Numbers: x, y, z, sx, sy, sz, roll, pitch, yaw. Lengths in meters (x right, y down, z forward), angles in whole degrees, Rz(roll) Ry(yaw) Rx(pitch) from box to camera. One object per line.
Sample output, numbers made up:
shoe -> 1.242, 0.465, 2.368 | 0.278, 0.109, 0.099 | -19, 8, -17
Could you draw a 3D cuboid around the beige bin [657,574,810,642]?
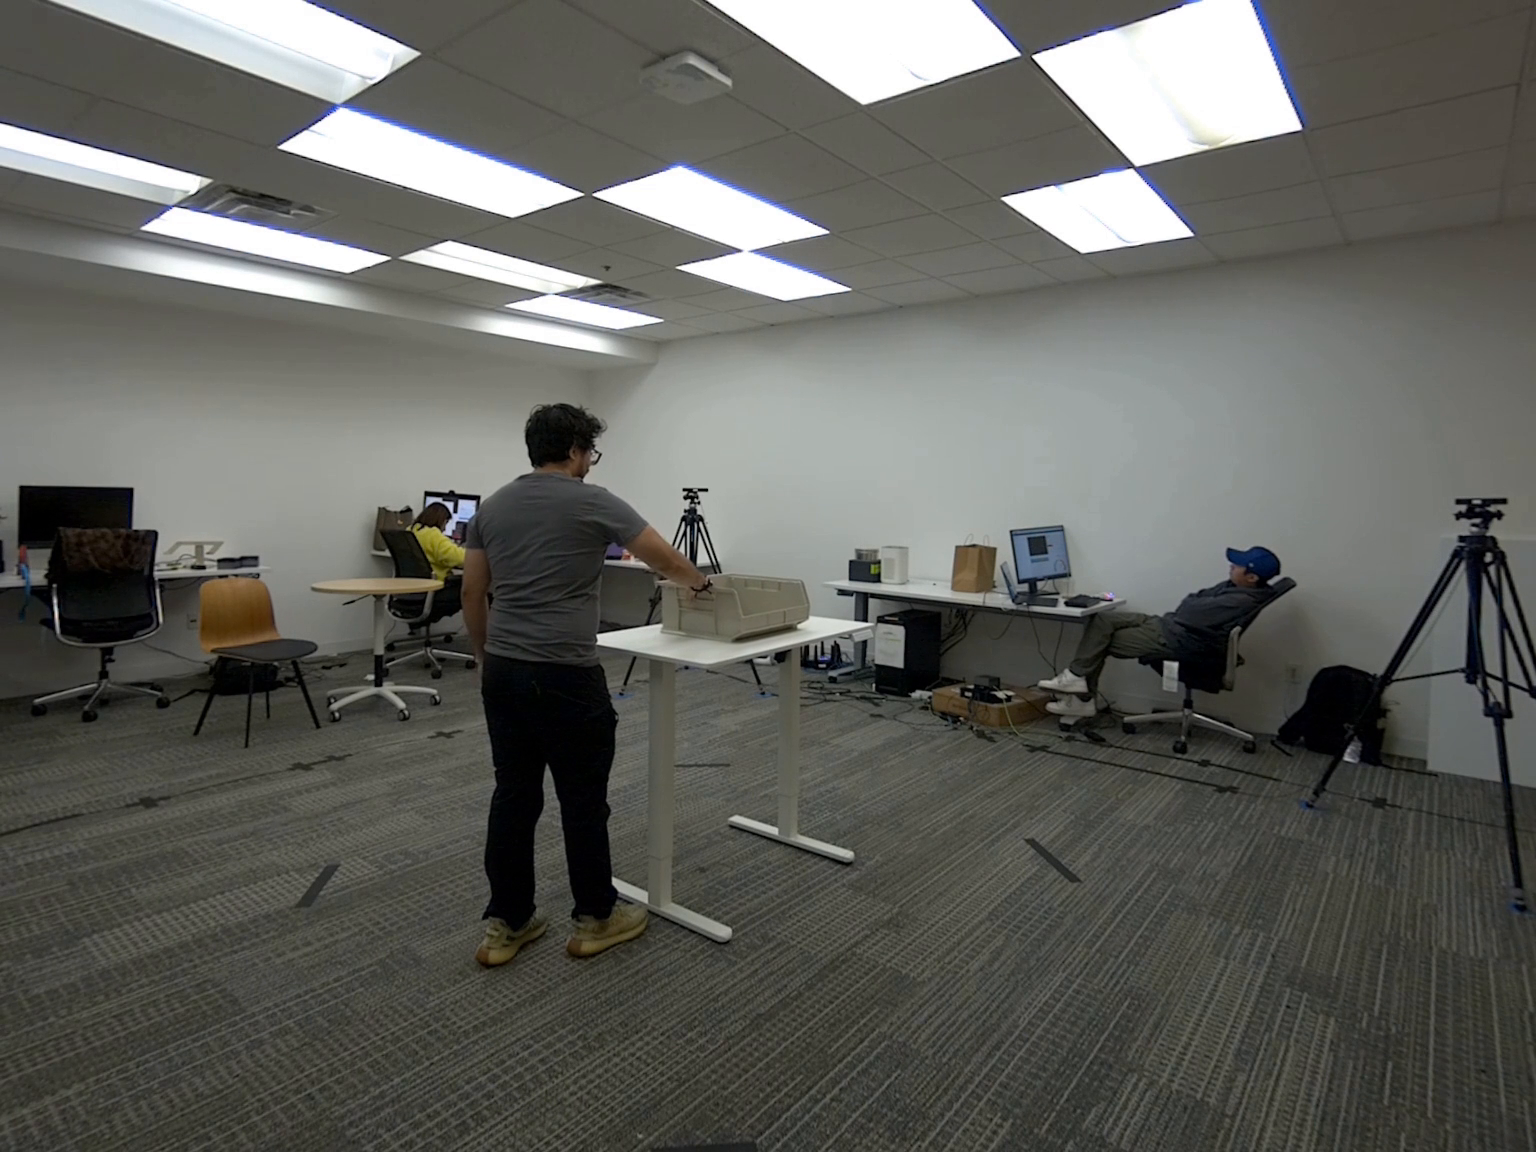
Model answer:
beige bin -> -0.125, 0.105, 3.046 | 0.389, 0.188, 0.410 | 2, 6, 37
